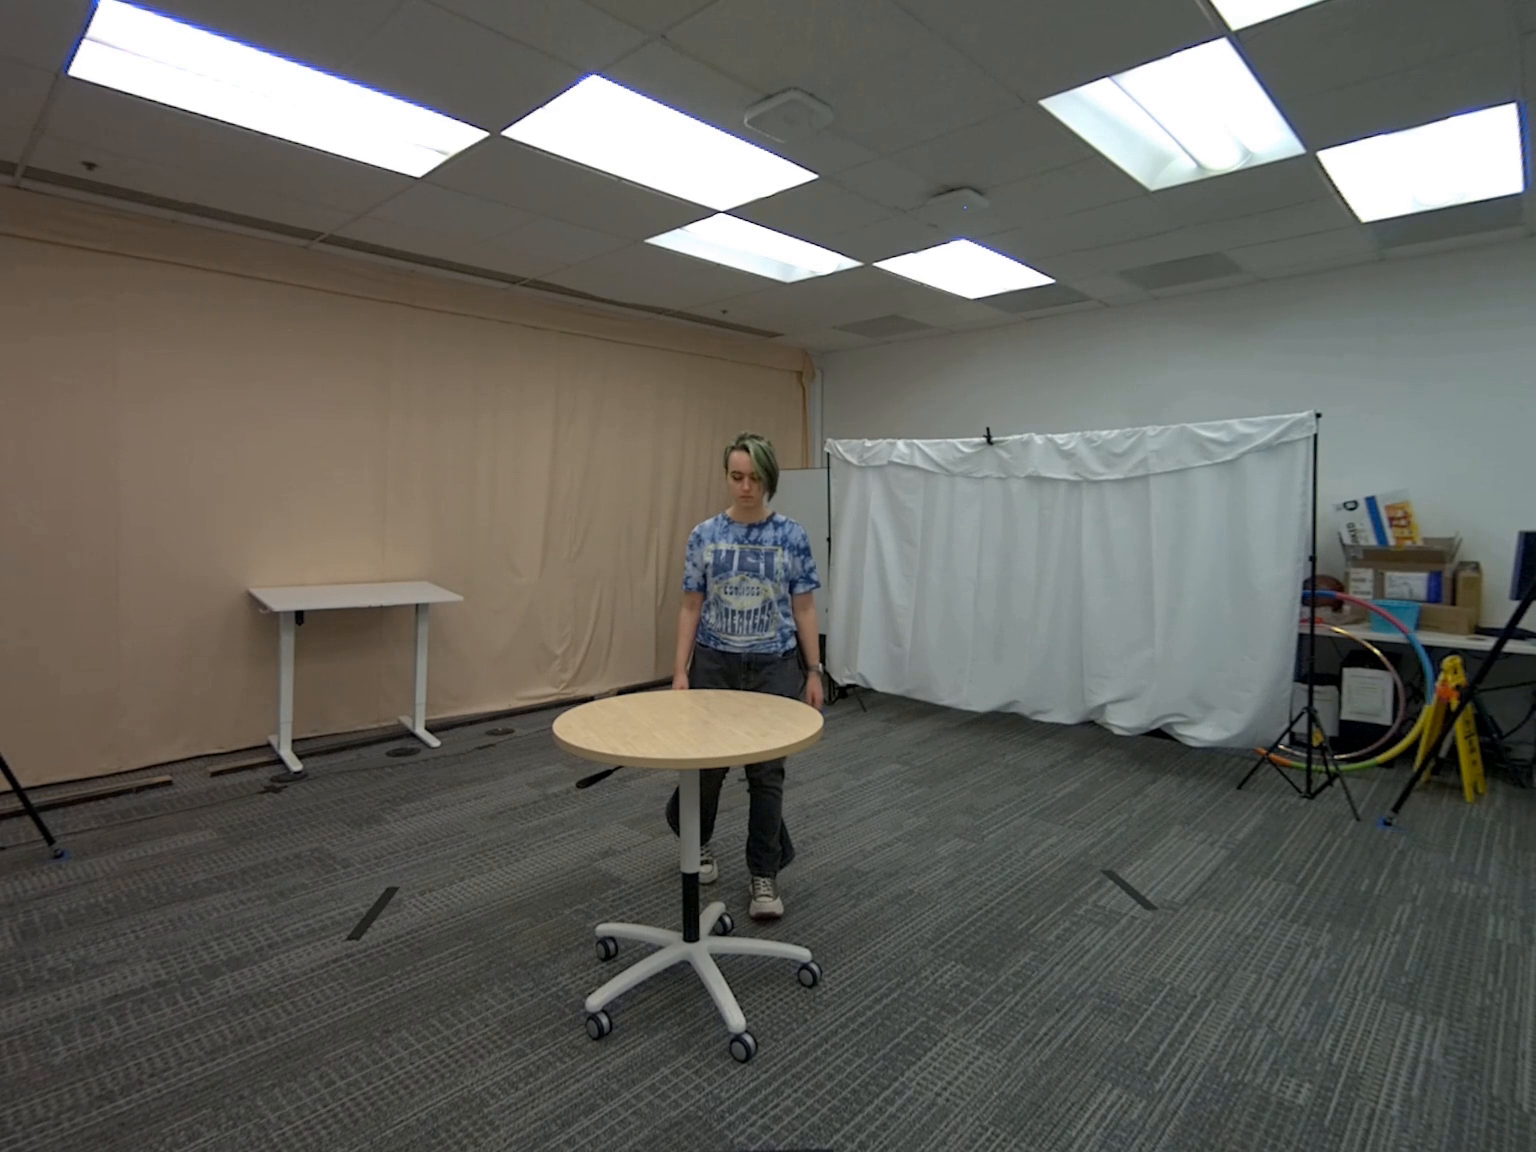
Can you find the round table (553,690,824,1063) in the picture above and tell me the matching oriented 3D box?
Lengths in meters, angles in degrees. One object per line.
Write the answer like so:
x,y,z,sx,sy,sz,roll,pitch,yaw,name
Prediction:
-0.233,0.797,2.434,0.784,0.785,0.788,-1,3,-2,round table
